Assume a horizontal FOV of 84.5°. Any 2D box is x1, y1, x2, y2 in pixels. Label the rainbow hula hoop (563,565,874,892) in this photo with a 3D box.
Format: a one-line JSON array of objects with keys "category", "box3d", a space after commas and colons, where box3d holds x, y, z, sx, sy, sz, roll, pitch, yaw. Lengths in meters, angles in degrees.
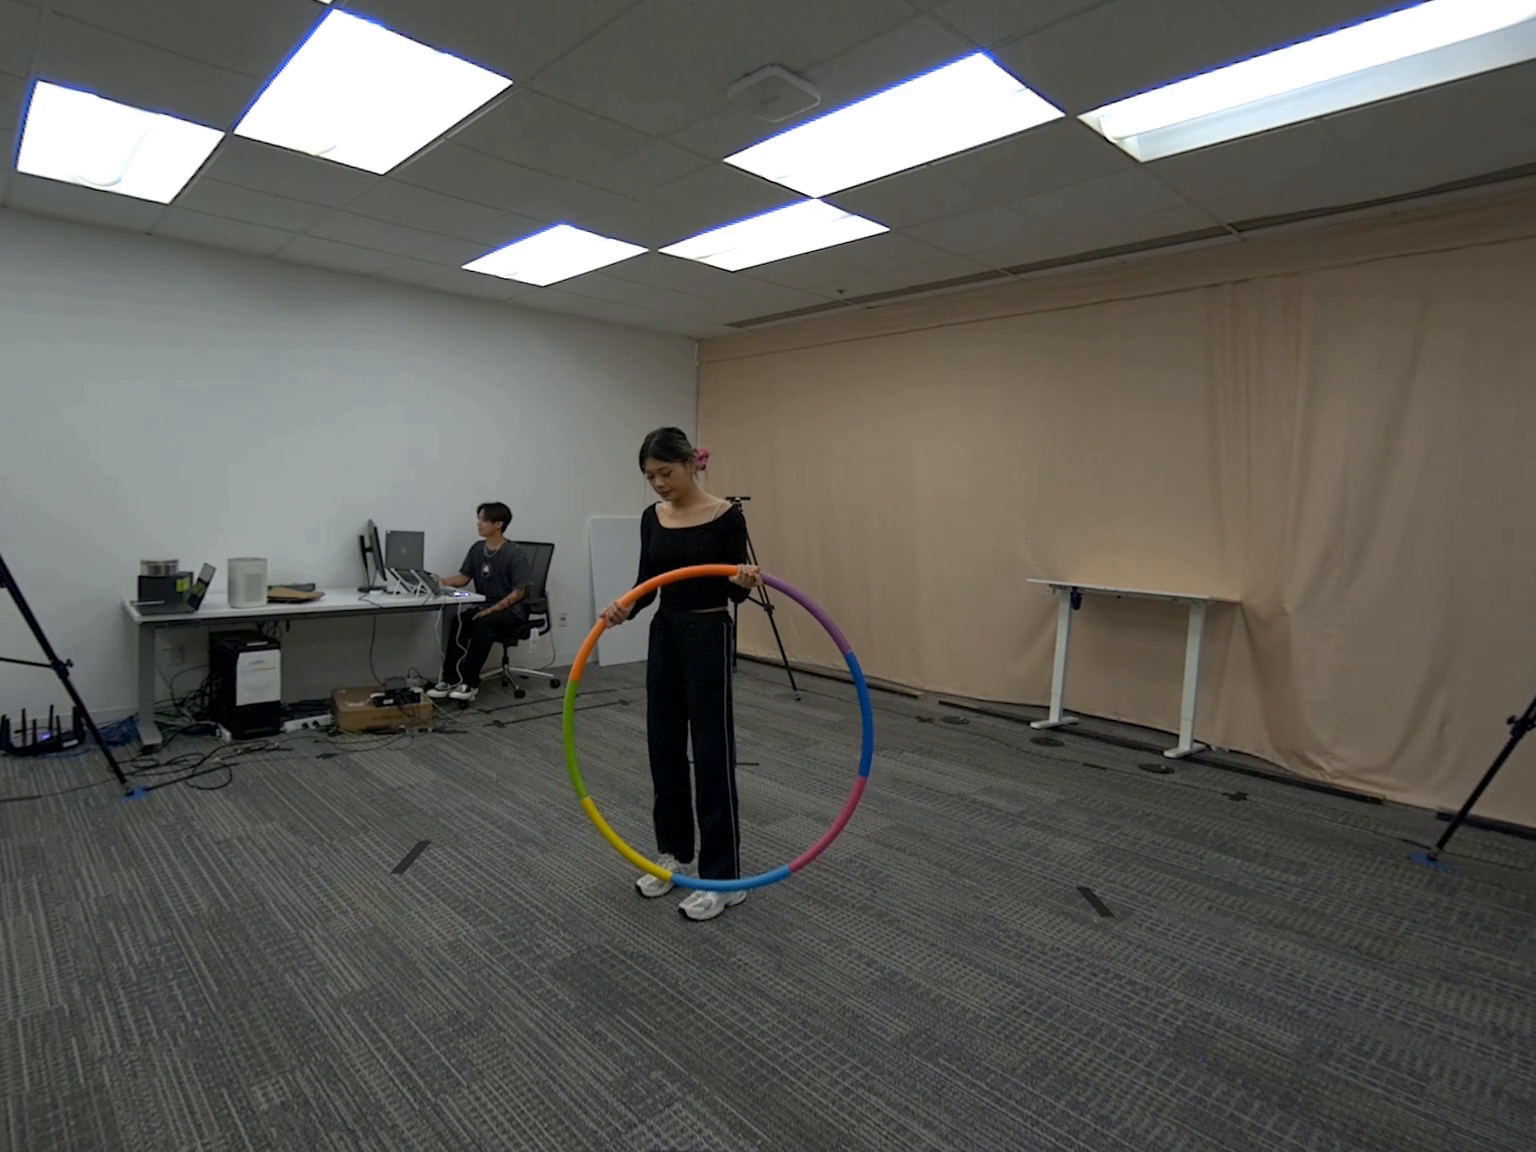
[{"category": "rainbow hula hoop", "box3d": [-0.173, 0.471, 2.604, 0.985, 0.982, 0.035, 2, -5, 8]}]
